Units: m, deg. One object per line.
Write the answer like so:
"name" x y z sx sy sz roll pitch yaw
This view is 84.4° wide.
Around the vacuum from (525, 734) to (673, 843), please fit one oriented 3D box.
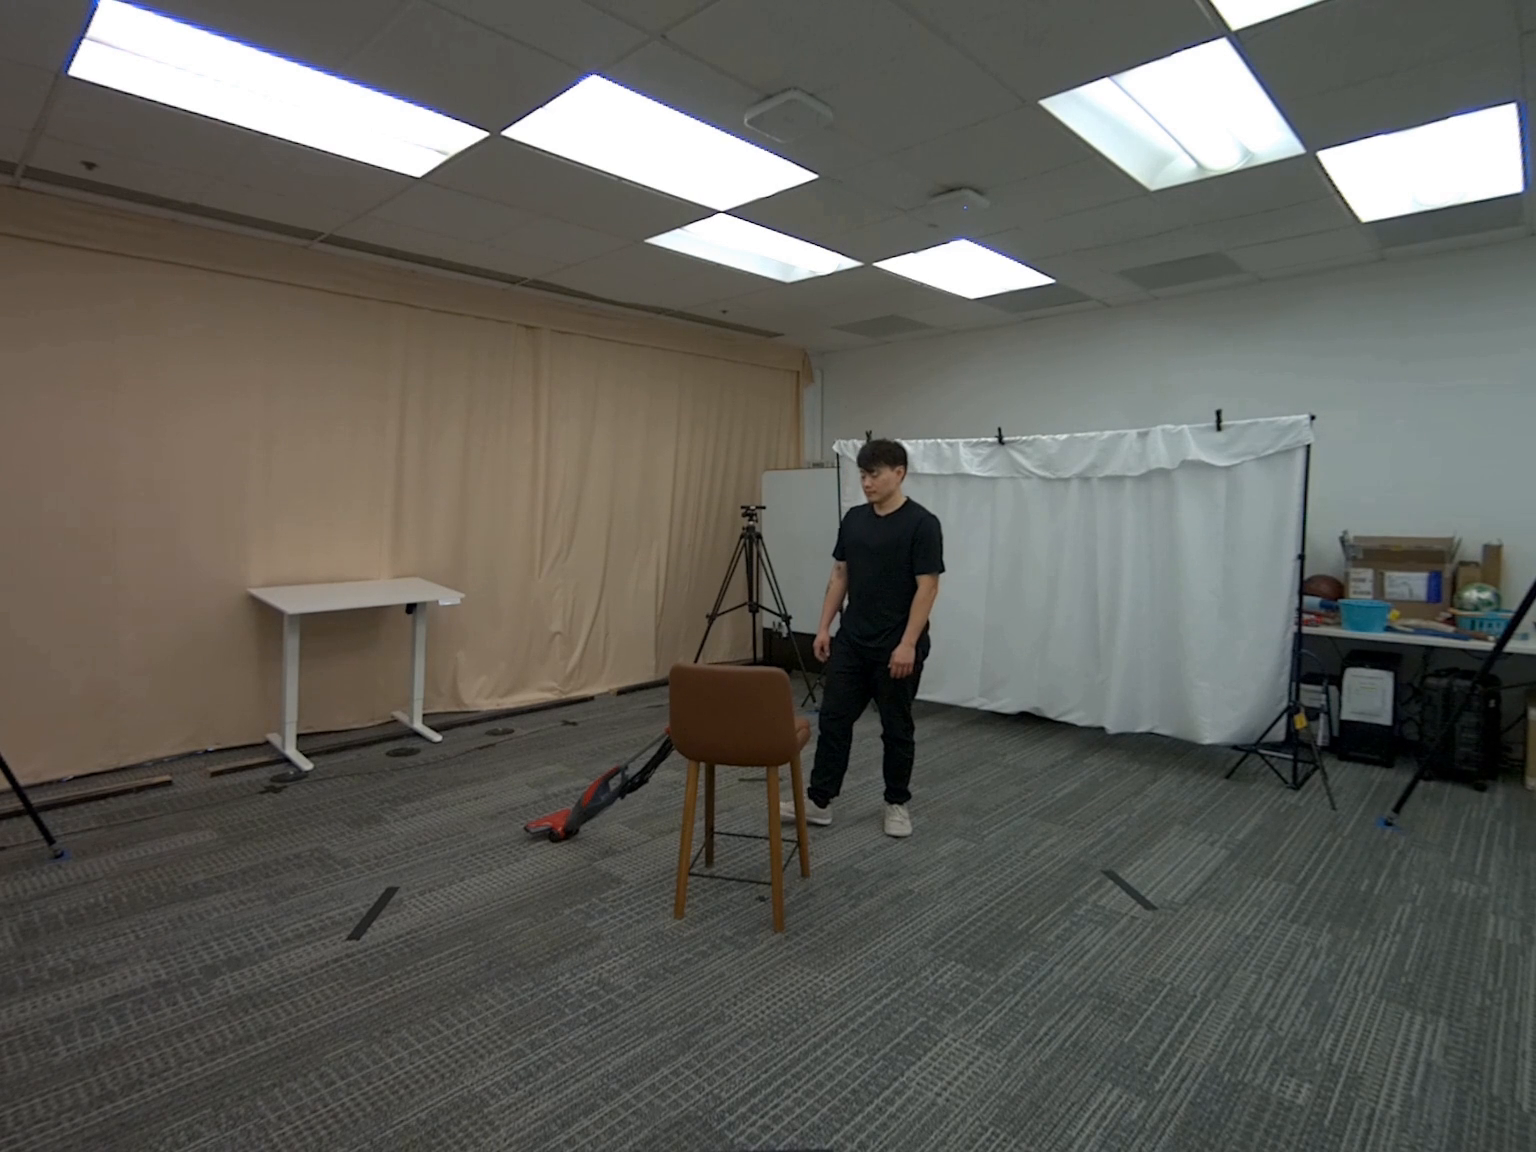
"vacuum" -0.572 0.795 3.312 1.061 0.146 0.246 -39 -16 32
